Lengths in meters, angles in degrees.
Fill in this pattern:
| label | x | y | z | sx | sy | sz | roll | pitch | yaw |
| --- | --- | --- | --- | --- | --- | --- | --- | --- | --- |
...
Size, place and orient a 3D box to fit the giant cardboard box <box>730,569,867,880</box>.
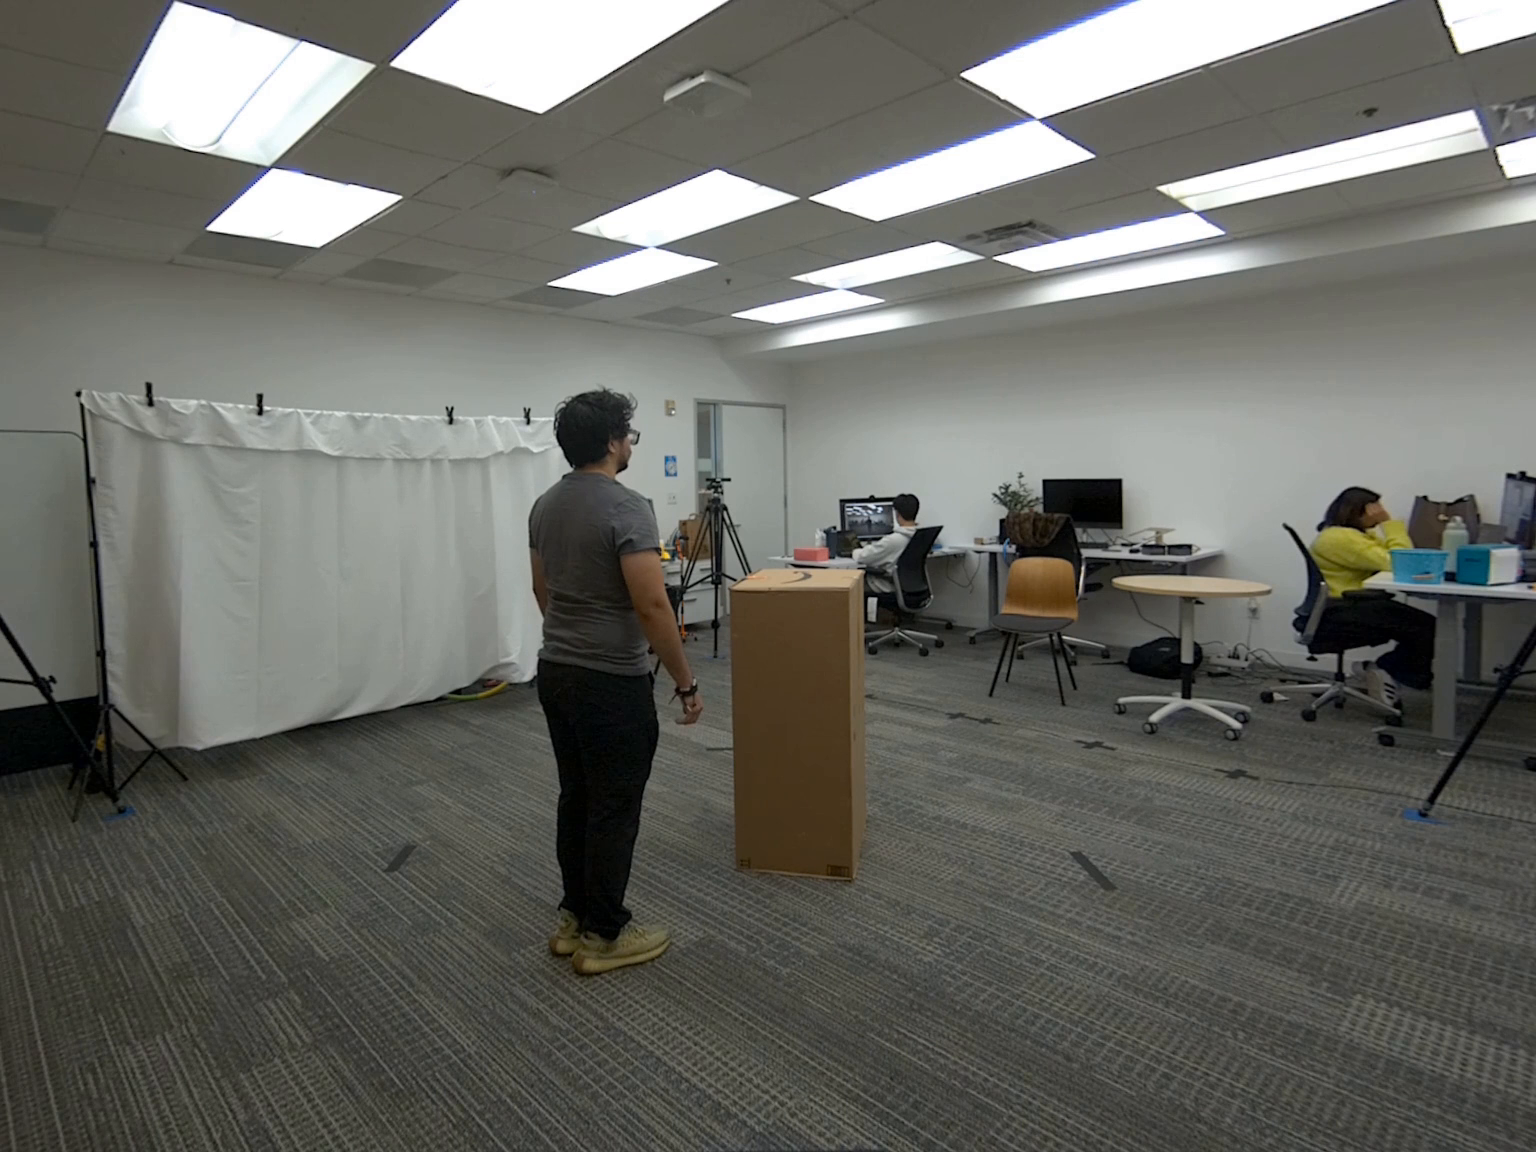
| label | x | y | z | sx | sy | sz | roll | pitch | yaw |
| --- | --- | --- | --- | --- | --- | --- | --- | --- | --- |
| giant cardboard box | 0.128 | 0.513 | 3.238 | 0.432 | 1.022 | 0.572 | 0 | 5 | 13 |
